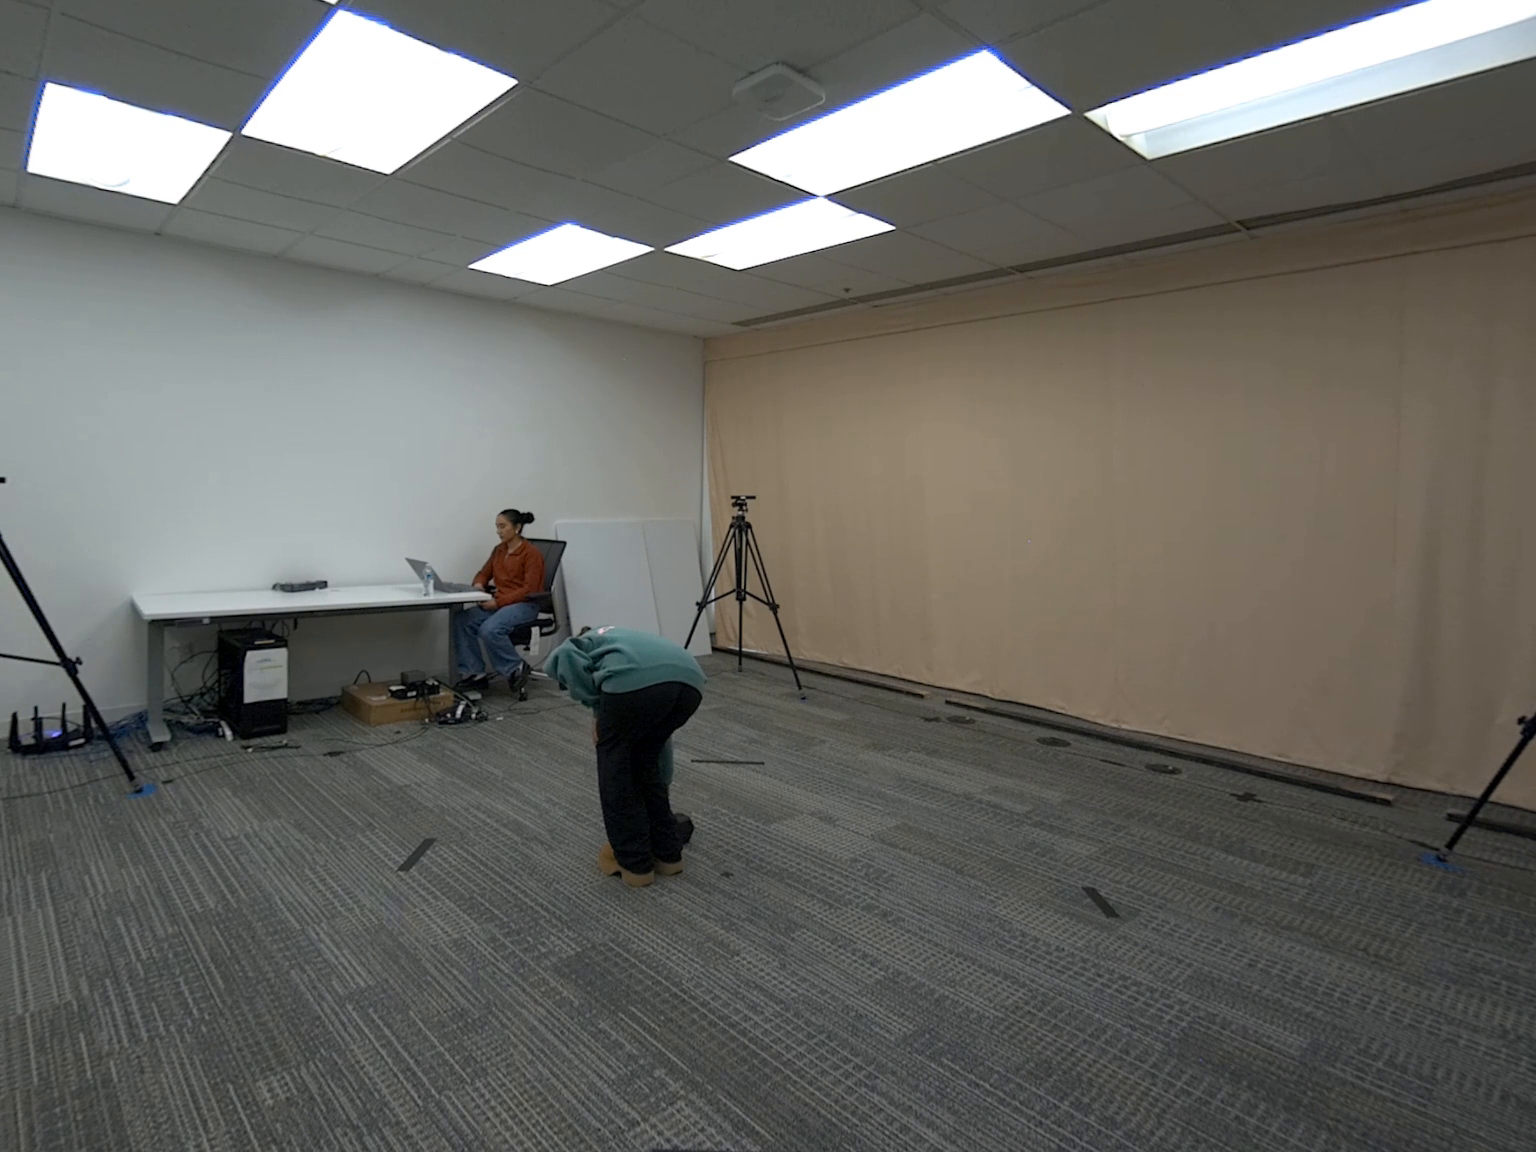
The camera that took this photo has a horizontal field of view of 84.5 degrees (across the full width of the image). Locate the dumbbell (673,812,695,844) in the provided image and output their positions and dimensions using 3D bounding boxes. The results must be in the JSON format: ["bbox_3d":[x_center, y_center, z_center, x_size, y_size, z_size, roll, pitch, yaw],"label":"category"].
[{"bbox_3d":[-0.439,1.014,3.463,0.301,0.123,0.105,7,-25,47],"label":"dumbbell"}]
